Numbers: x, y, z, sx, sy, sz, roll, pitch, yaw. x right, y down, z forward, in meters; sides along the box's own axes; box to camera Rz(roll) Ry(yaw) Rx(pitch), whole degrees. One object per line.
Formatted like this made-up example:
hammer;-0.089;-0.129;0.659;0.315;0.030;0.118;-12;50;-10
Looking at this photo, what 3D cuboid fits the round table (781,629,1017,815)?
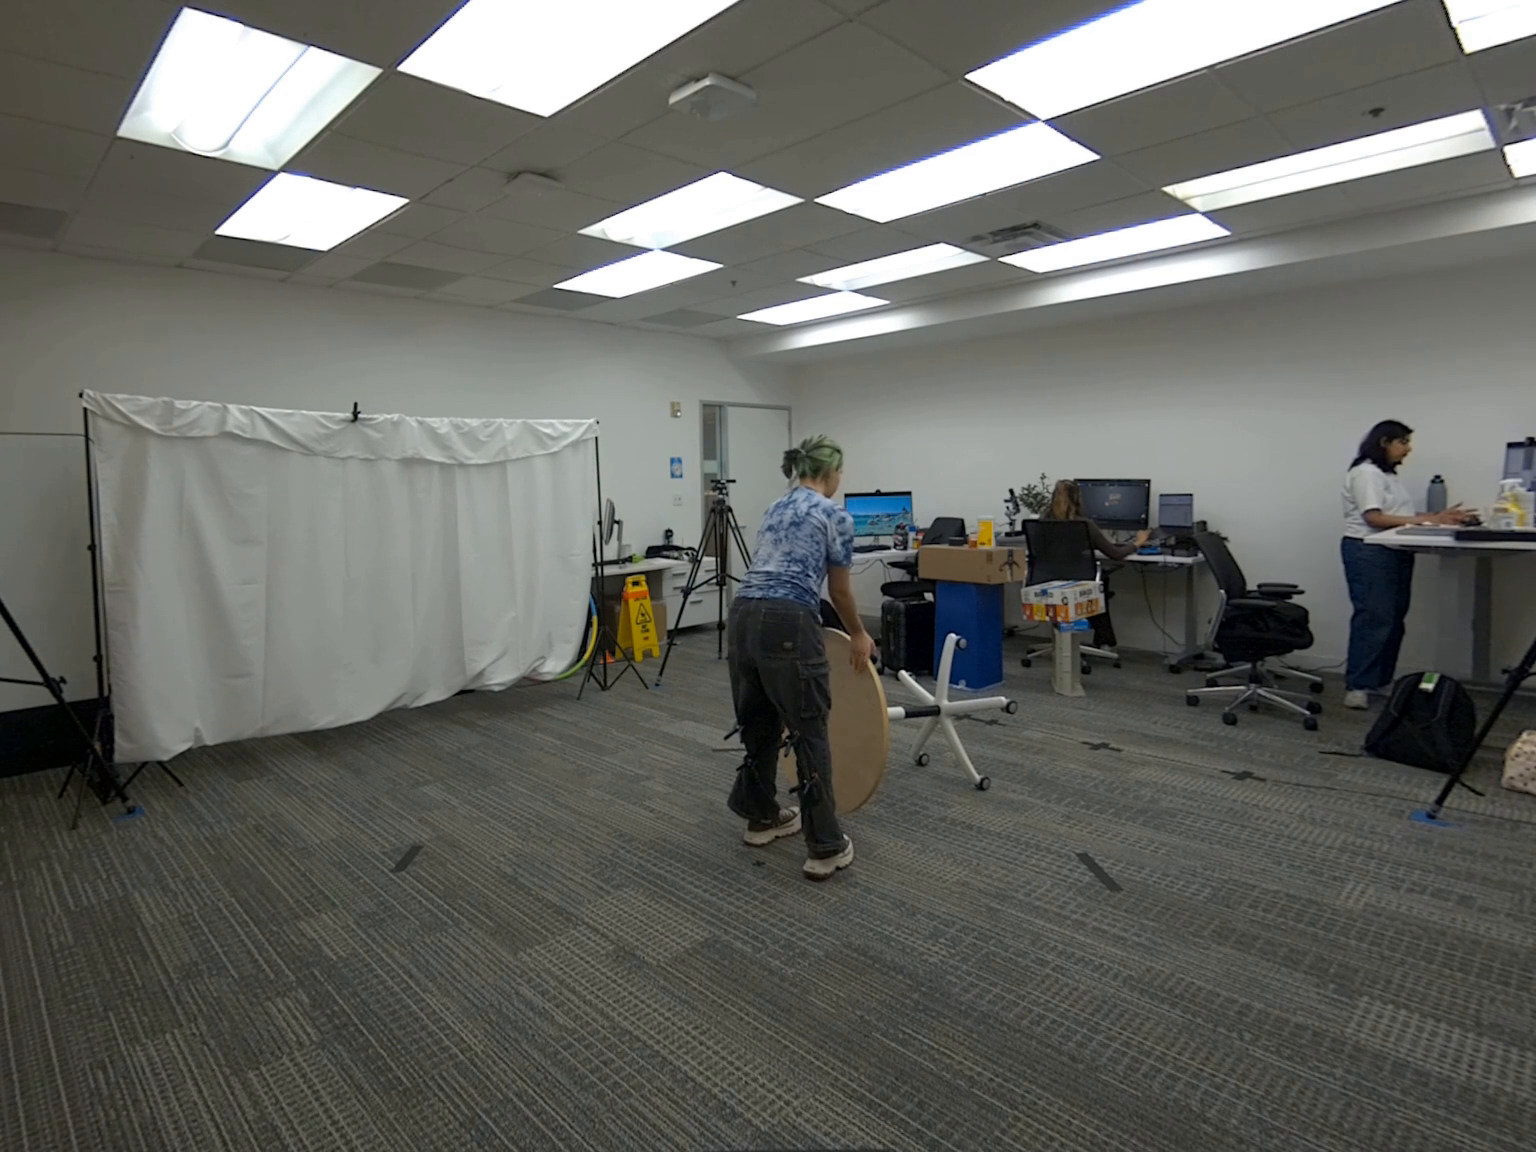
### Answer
round table;0.565;0.619;3.785;0.772;0.763;0.785;3;2;-32
